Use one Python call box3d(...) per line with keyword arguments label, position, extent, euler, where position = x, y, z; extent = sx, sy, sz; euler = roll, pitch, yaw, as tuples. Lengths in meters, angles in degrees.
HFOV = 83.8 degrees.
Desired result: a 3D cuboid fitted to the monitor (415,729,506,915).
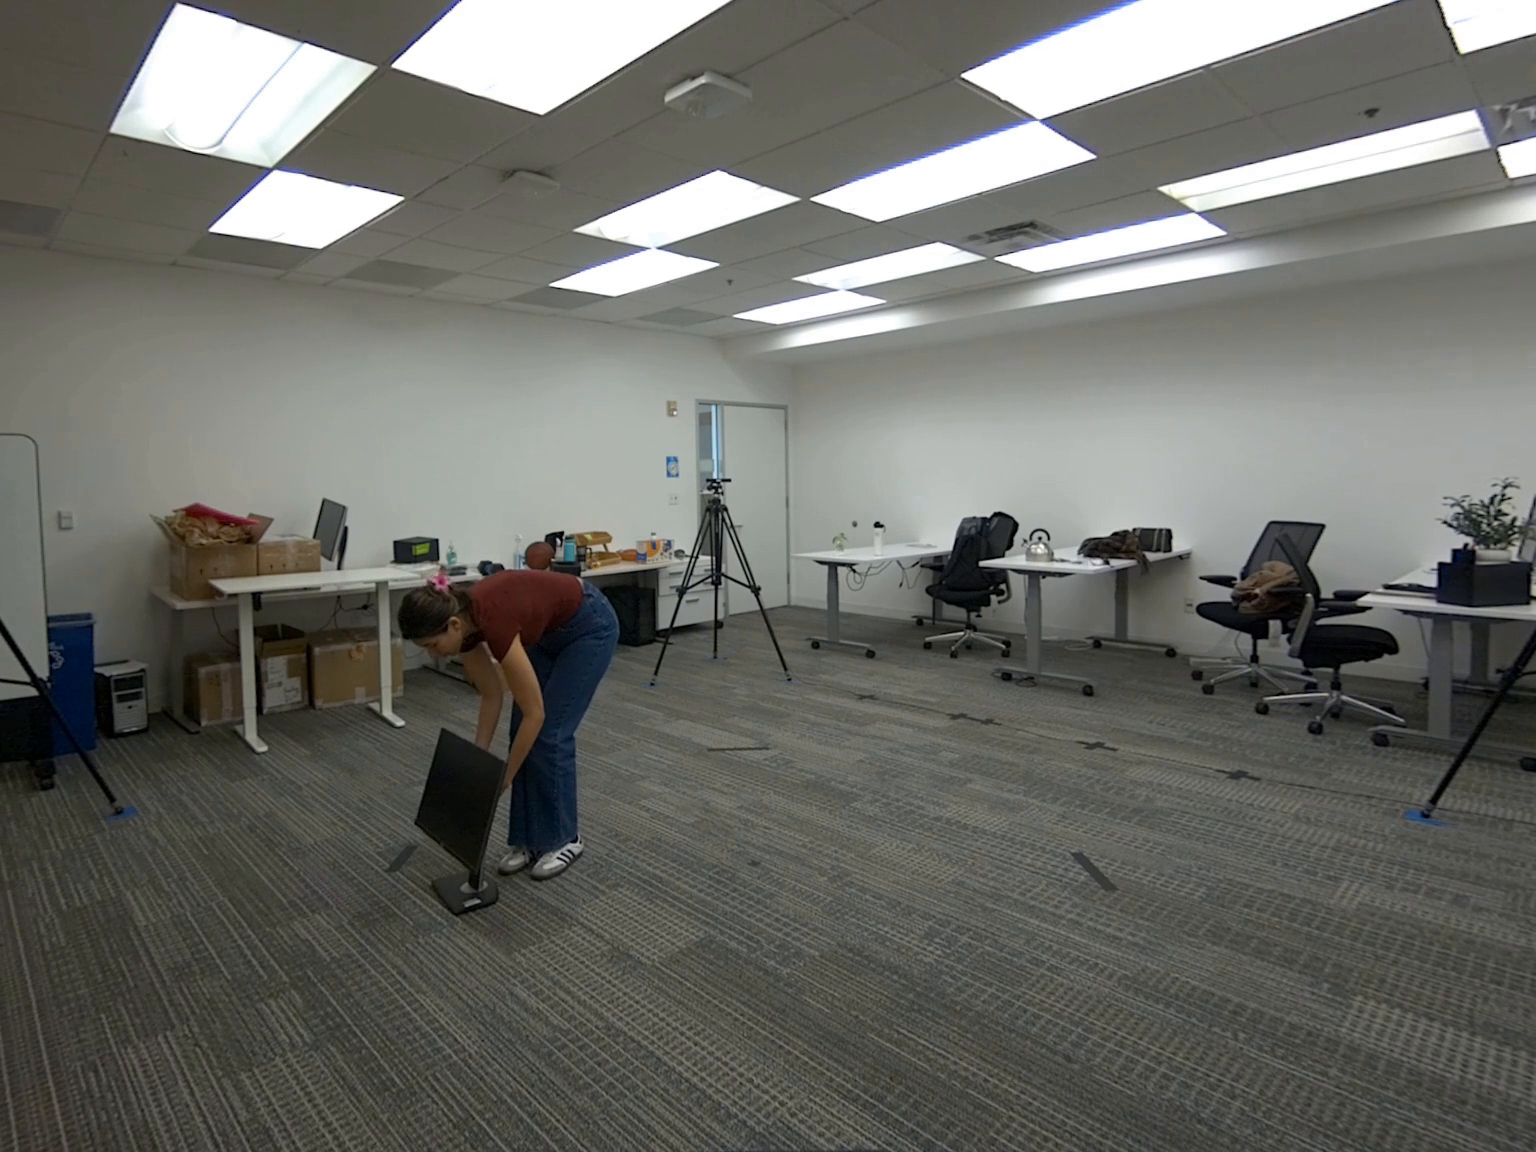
box3d(label="monitor", position=(-1.031, 0.836, 2.910), extent=(0.182, 0.521, 0.556), euler=(-2, 4, -41))
